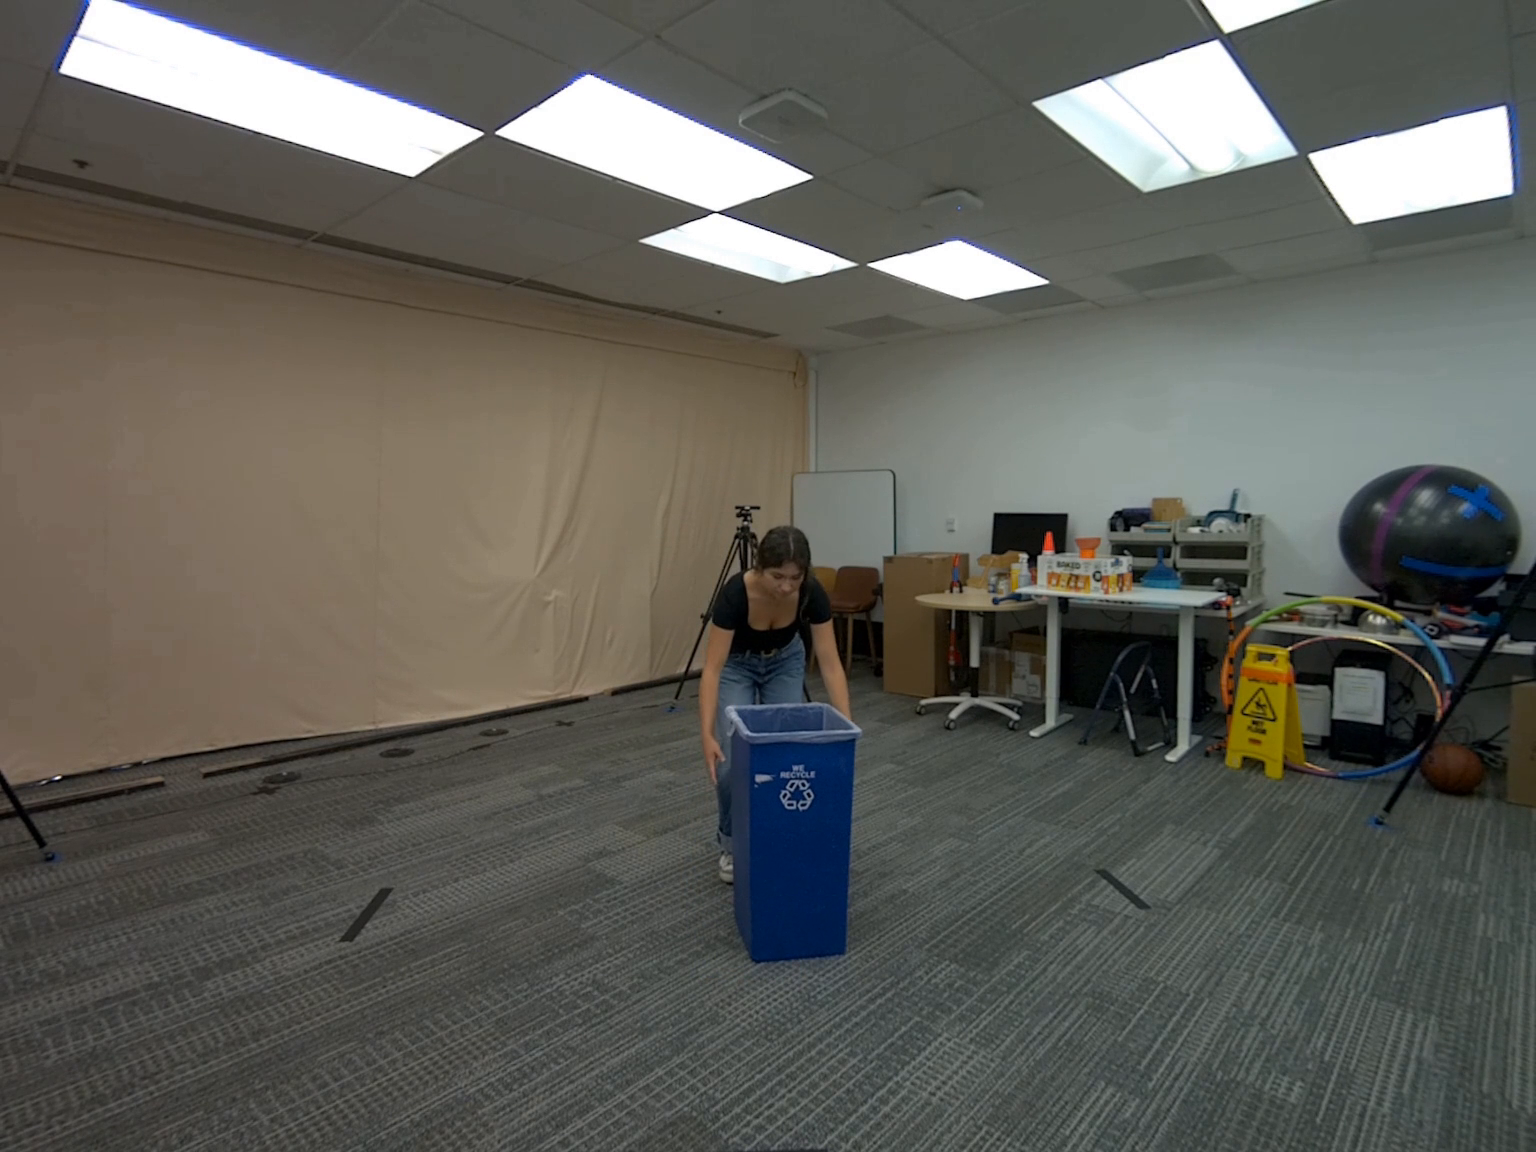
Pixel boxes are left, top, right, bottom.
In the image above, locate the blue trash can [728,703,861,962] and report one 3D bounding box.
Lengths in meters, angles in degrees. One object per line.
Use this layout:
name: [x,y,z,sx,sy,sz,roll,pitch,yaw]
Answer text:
blue trash can: [0.072,0.809,2.719,0.370,0.712,0.384,-1,4,-12]
